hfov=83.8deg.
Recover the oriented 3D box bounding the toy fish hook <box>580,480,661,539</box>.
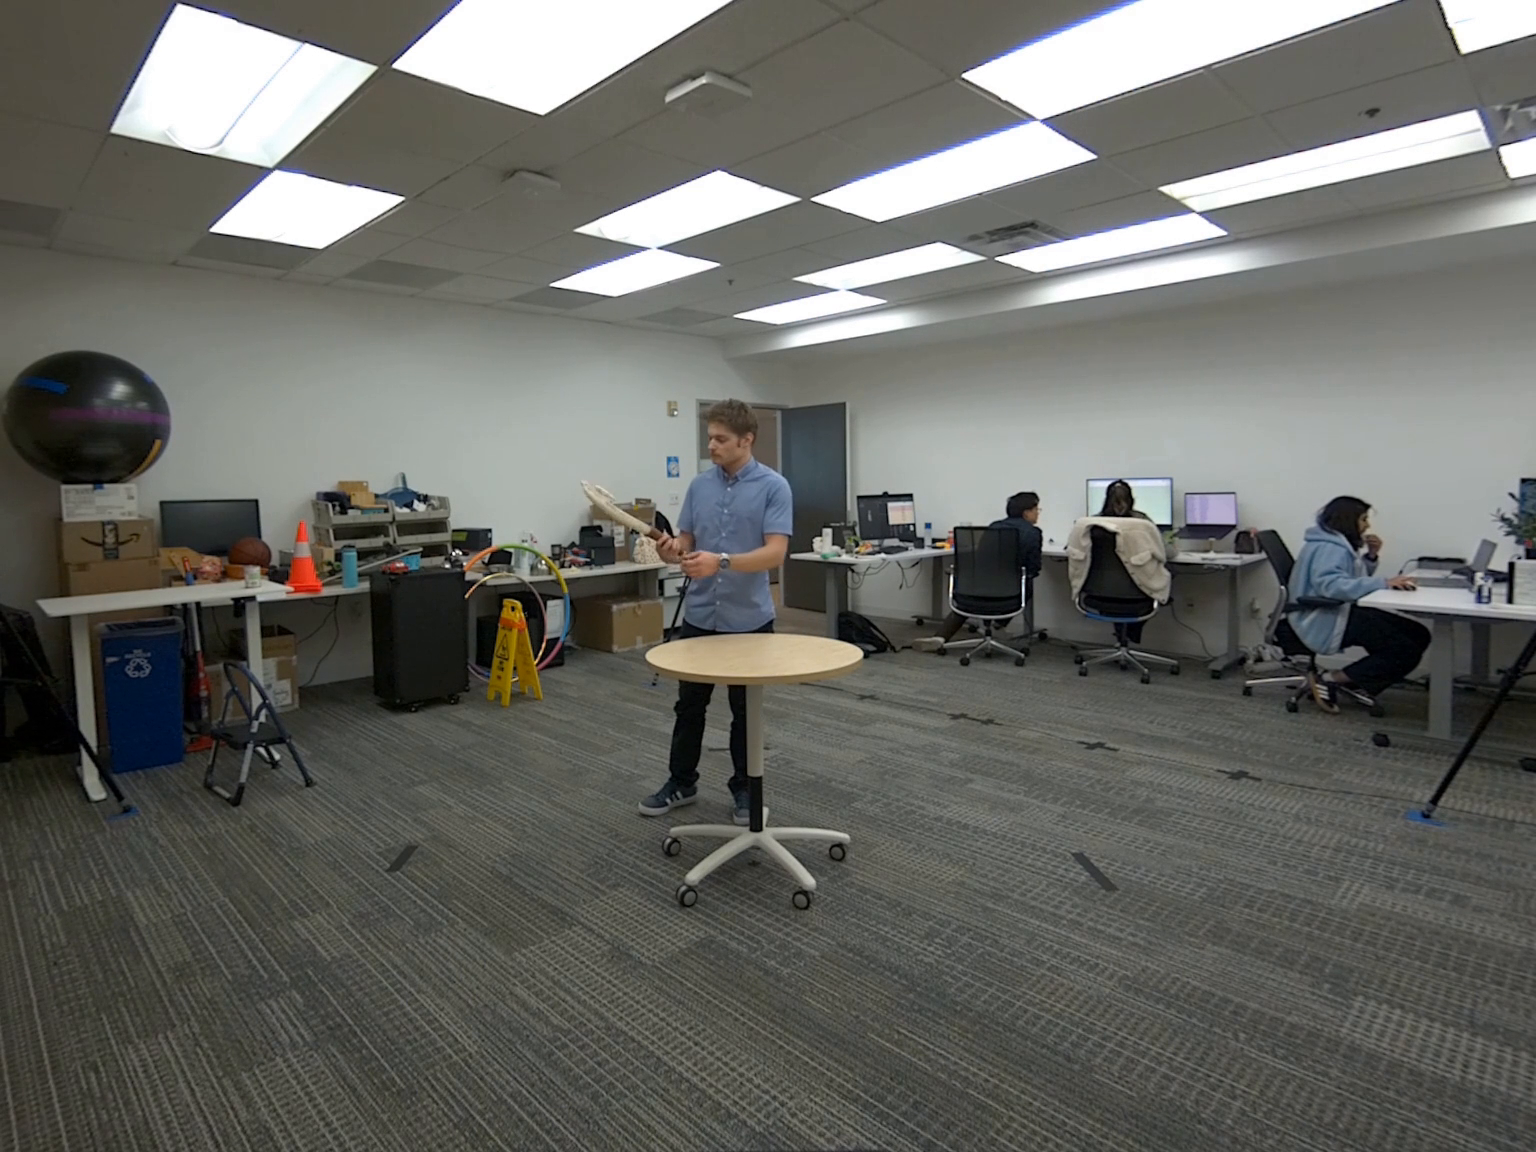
[{"bbox_3d":[-0.504,-0.212,3.270,0.487,0.048,0.233,35,16,-39],"label":"toy fish hook"}]
